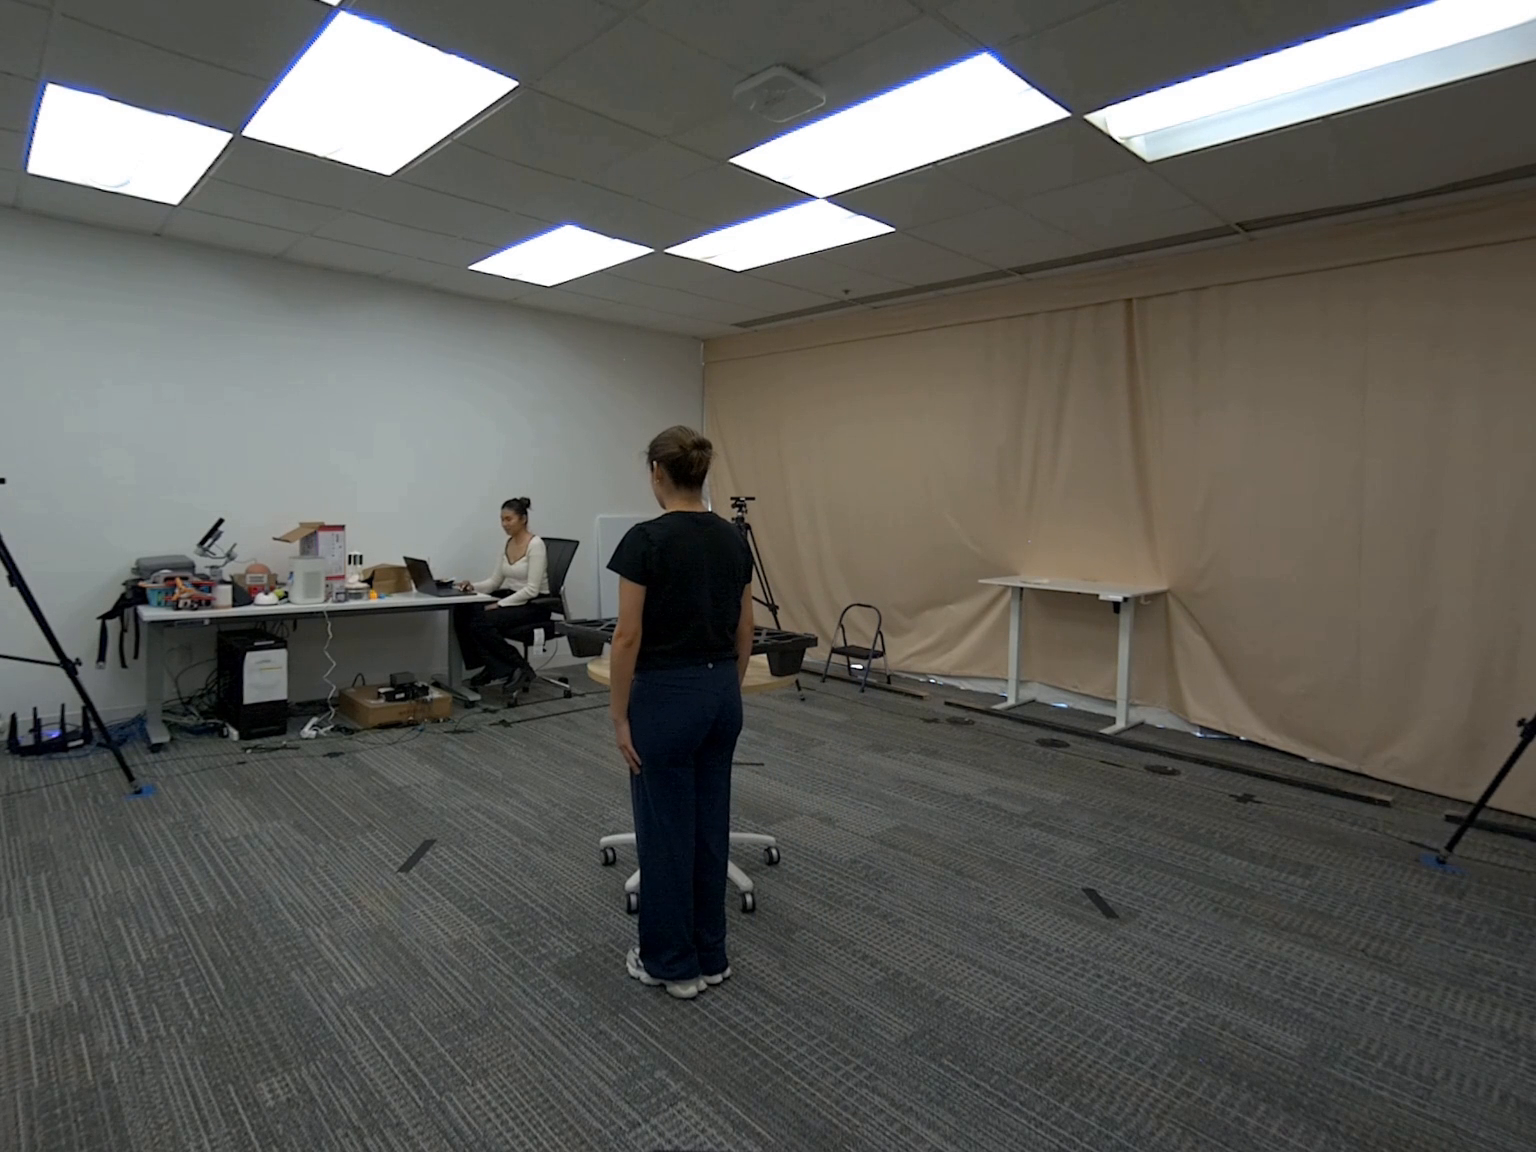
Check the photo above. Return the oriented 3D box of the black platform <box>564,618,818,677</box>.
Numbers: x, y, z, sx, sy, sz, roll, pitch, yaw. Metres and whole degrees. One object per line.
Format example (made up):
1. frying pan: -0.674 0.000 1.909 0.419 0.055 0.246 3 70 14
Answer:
1. black platform: -0.317 0.267 3.040 0.591 0.143 0.826 -3 7 -45
